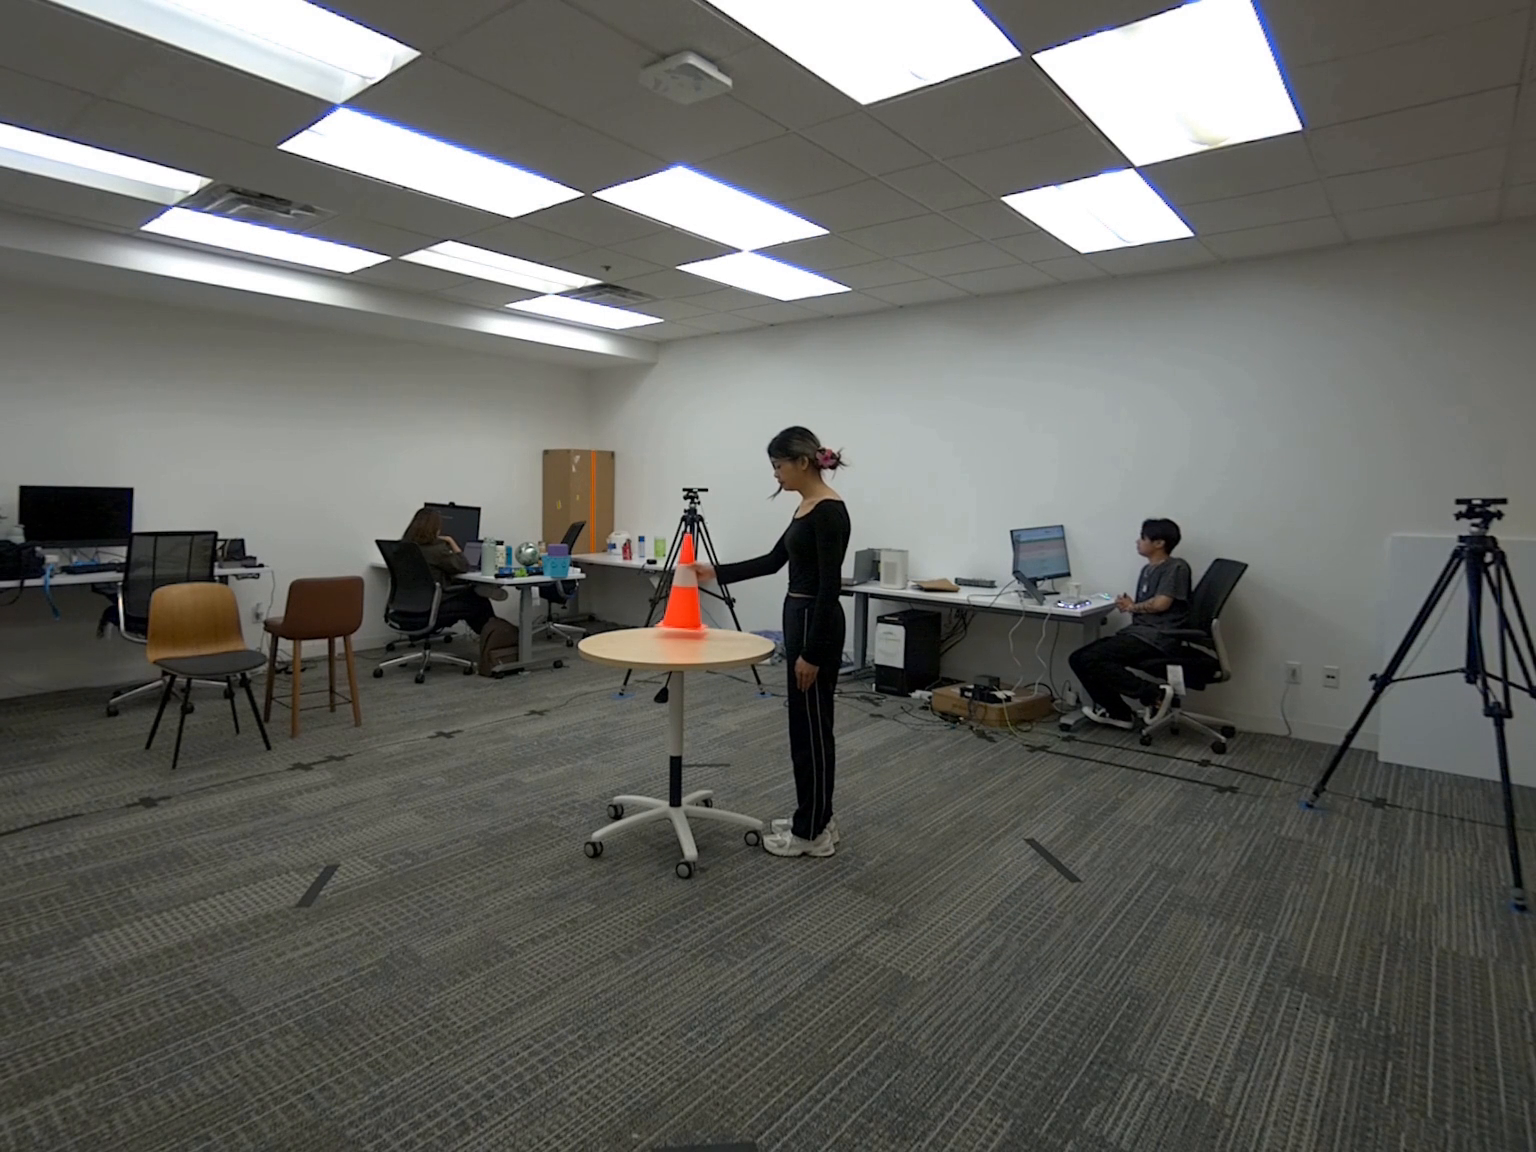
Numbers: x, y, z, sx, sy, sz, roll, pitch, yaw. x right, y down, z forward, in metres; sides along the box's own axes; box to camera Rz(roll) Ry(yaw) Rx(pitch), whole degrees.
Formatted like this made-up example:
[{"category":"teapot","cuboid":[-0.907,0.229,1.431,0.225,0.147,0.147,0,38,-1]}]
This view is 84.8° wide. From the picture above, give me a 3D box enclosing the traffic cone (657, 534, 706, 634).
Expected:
[{"category":"traffic cone","cuboid":[-0.352,0.018,3.502,0.205,0.382,0.204,5,4,7]}]
